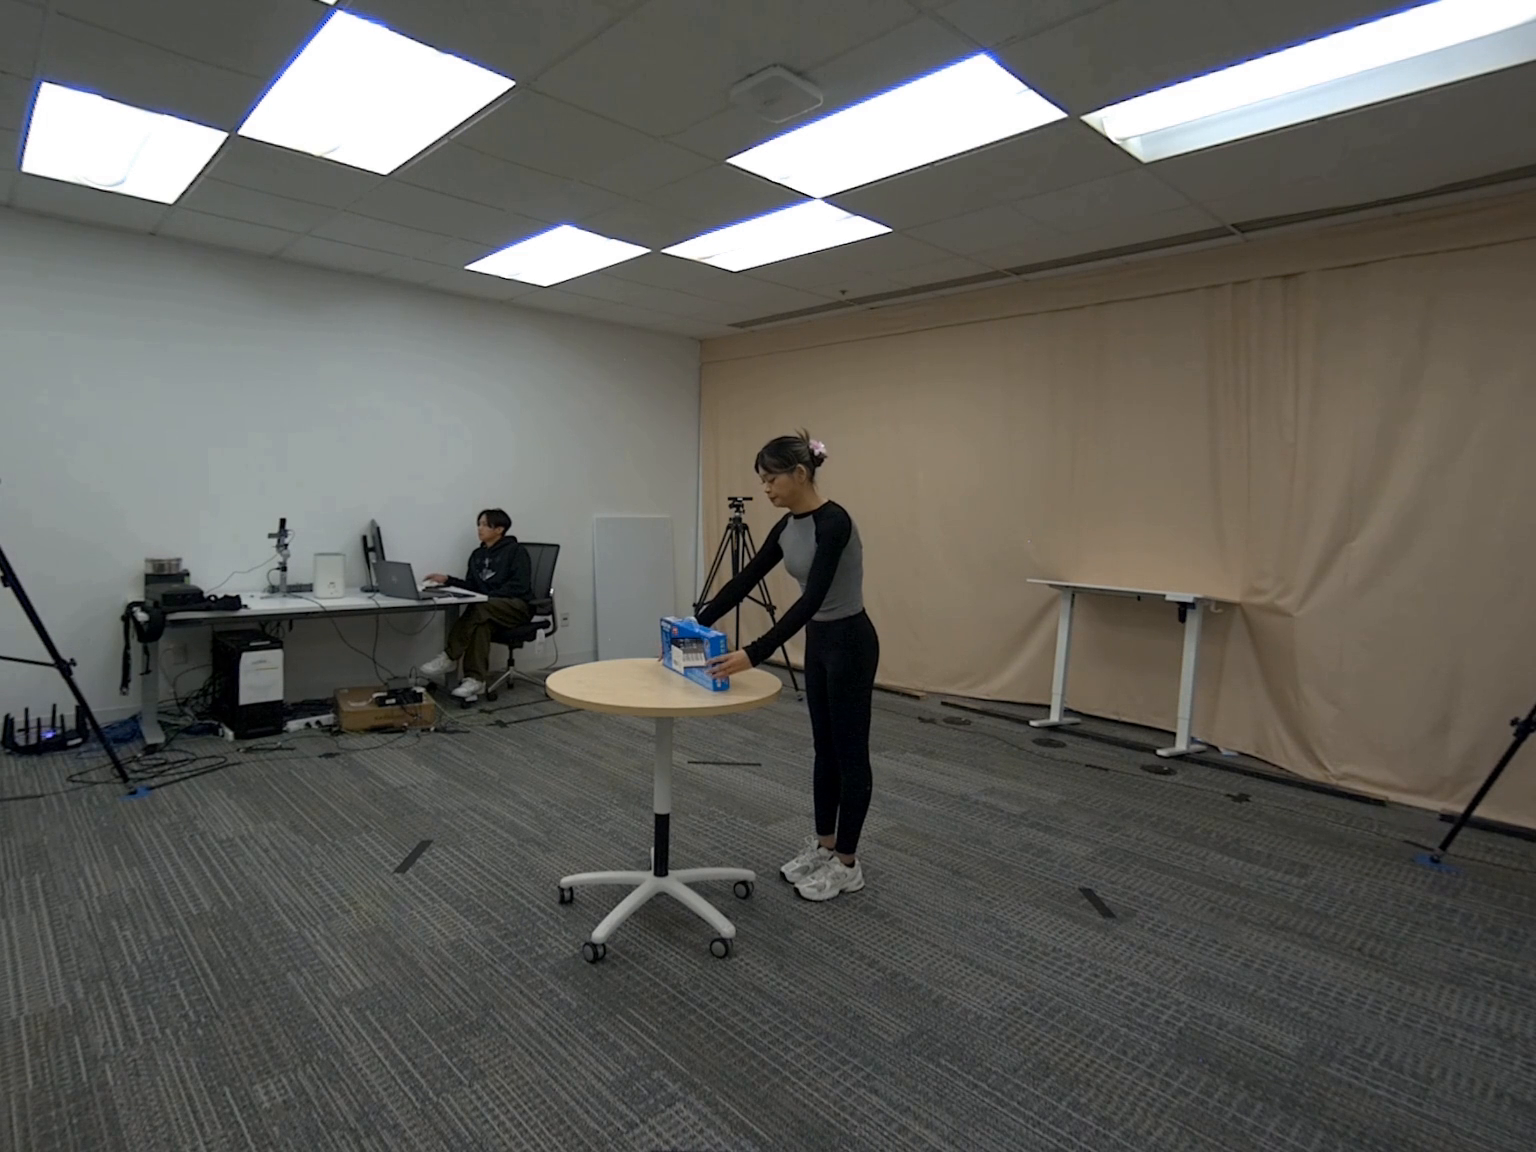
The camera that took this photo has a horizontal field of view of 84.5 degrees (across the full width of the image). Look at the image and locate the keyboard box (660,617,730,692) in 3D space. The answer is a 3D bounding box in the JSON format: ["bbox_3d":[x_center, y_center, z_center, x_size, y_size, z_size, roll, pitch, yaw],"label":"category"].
[{"bbox_3d":[-0.255,0.253,2.804,0.058,0.175,0.446,-4,7,-28],"label":"keyboard box"}]
